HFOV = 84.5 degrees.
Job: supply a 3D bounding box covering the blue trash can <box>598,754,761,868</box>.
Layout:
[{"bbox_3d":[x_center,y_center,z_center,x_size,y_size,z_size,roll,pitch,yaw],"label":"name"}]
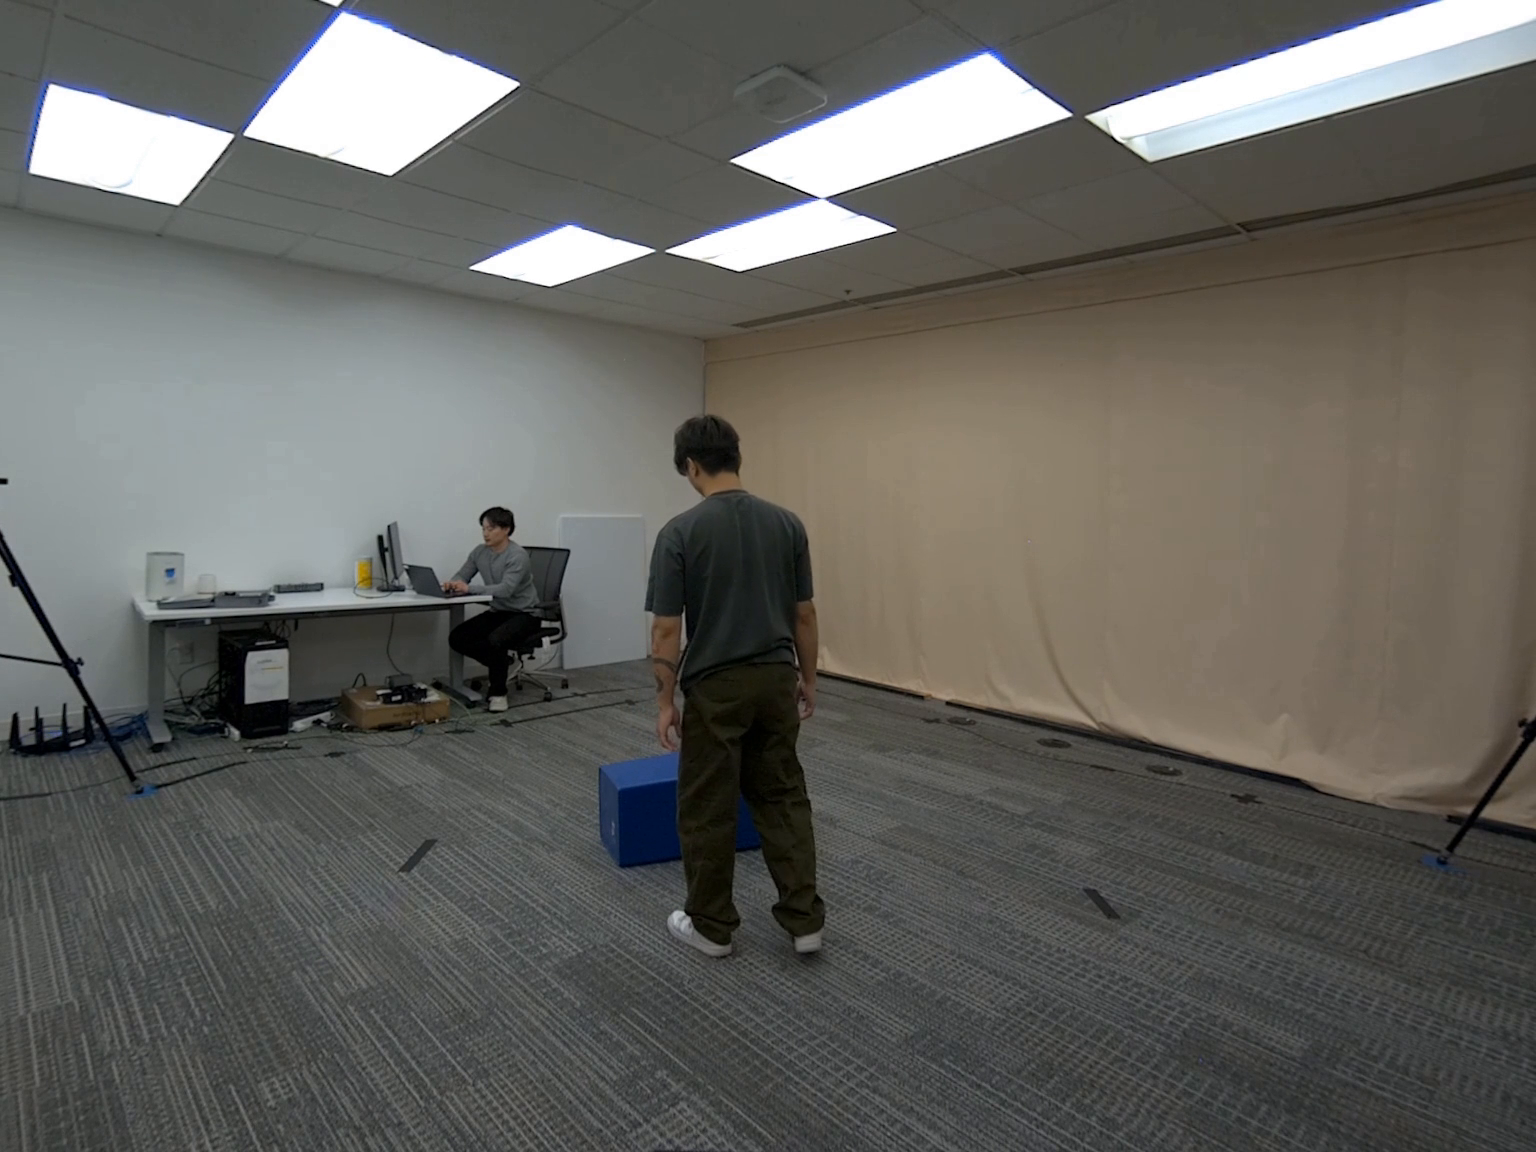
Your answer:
[{"bbox_3d":[-0.301,0.914,3.398,0.702,0.373,0.385,-4,6,-22],"label":"blue trash can"}]
